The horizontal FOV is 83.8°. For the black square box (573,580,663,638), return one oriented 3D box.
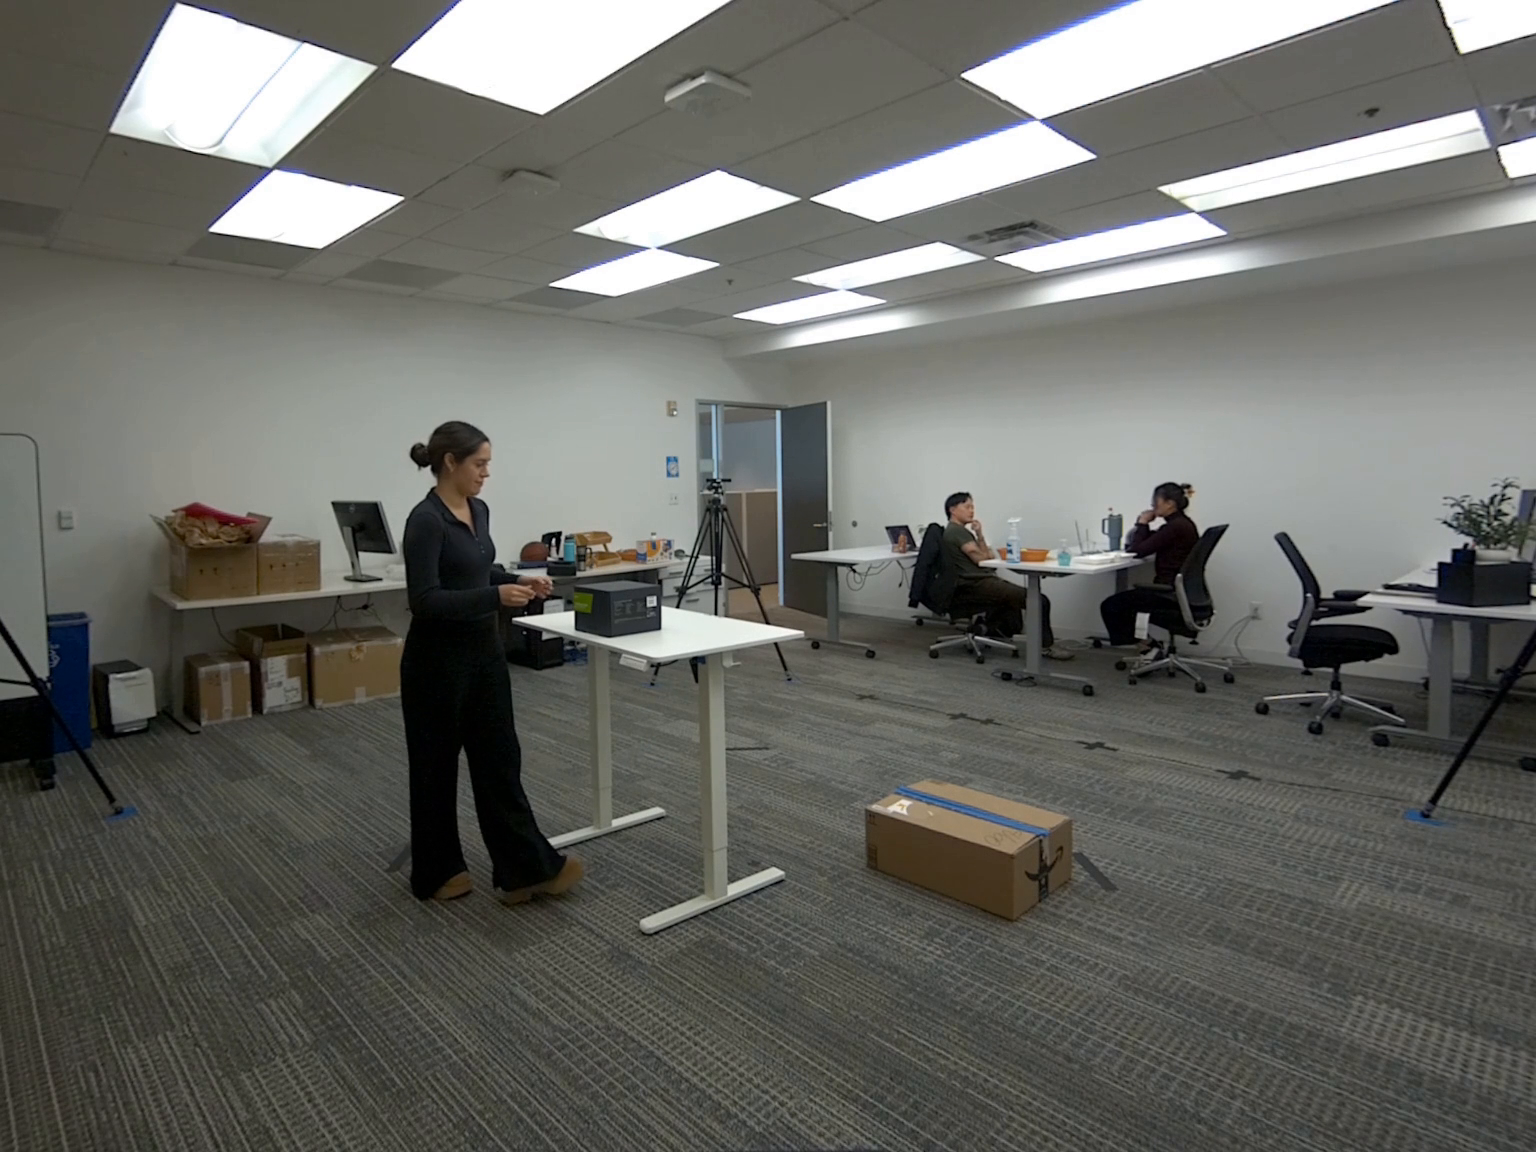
[{"bbox_3d":[-0.518,0.110,2.955,0.211,0.155,0.235,-6,7,-42],"label":"black square box"}]
